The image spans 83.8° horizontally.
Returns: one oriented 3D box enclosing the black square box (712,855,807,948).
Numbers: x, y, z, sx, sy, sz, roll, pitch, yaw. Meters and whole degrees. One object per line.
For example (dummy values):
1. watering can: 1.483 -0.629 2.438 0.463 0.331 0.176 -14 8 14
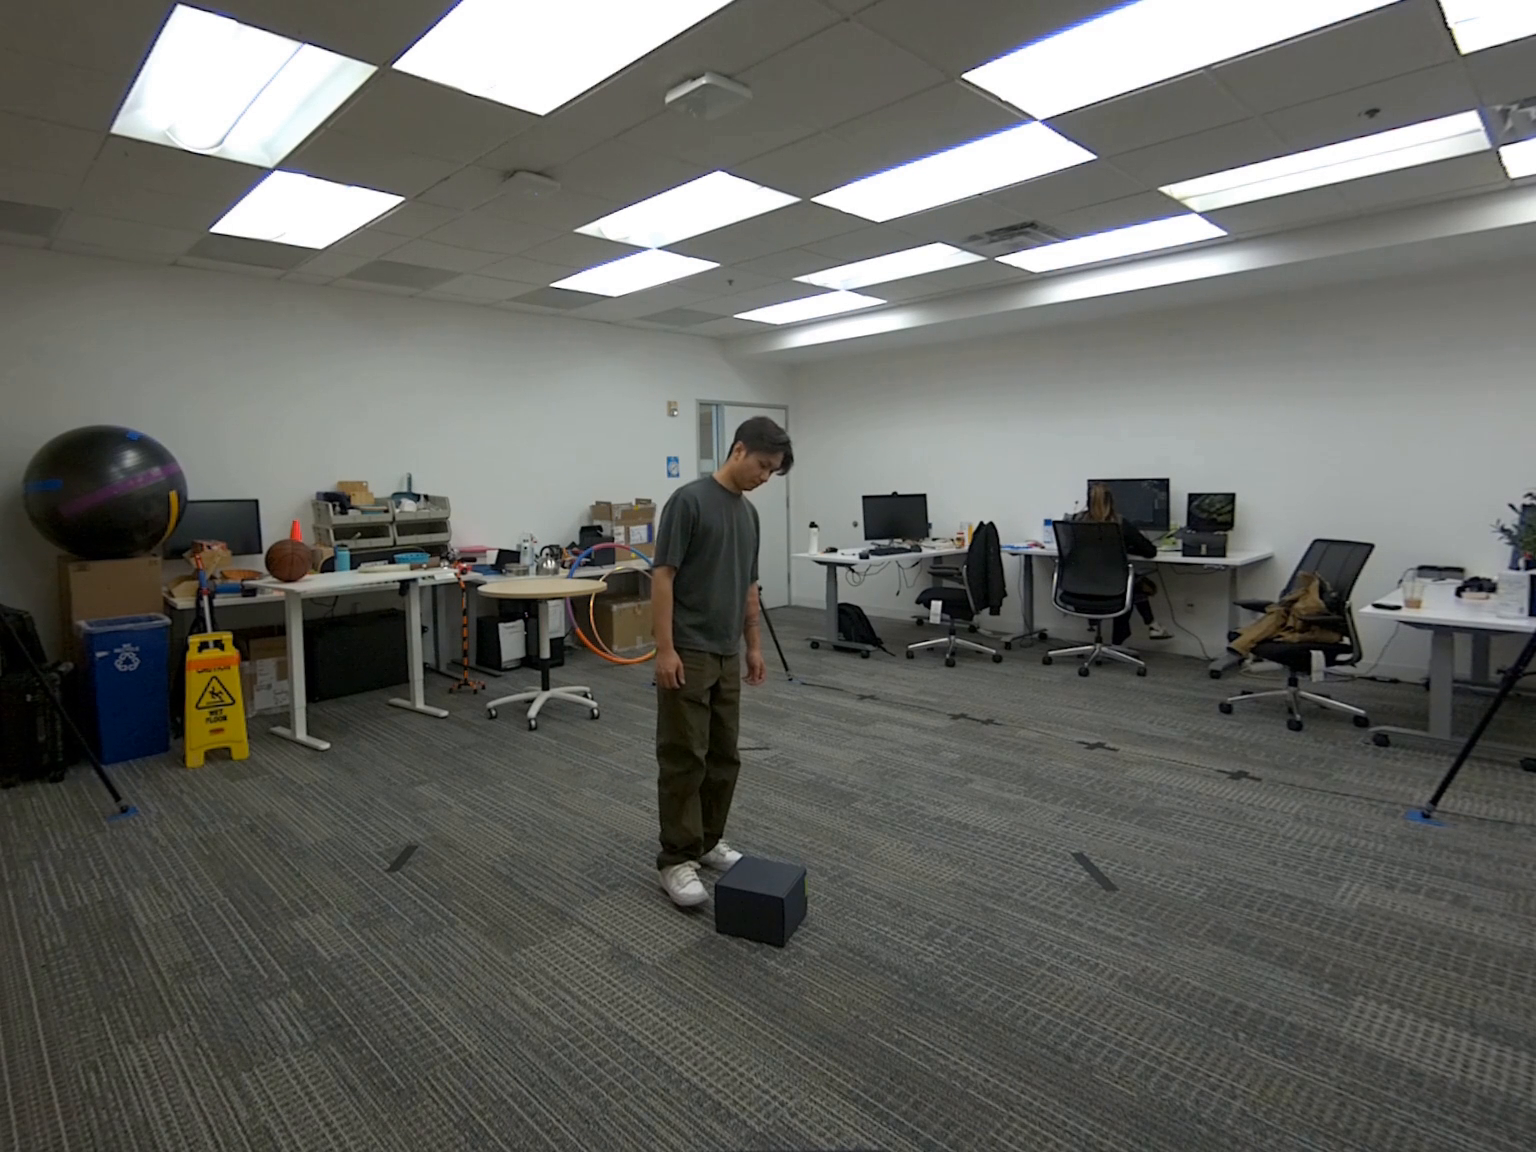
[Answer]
1. black square box: -0.012 1.009 2.678 0.233 0.155 0.213 1 6 23
